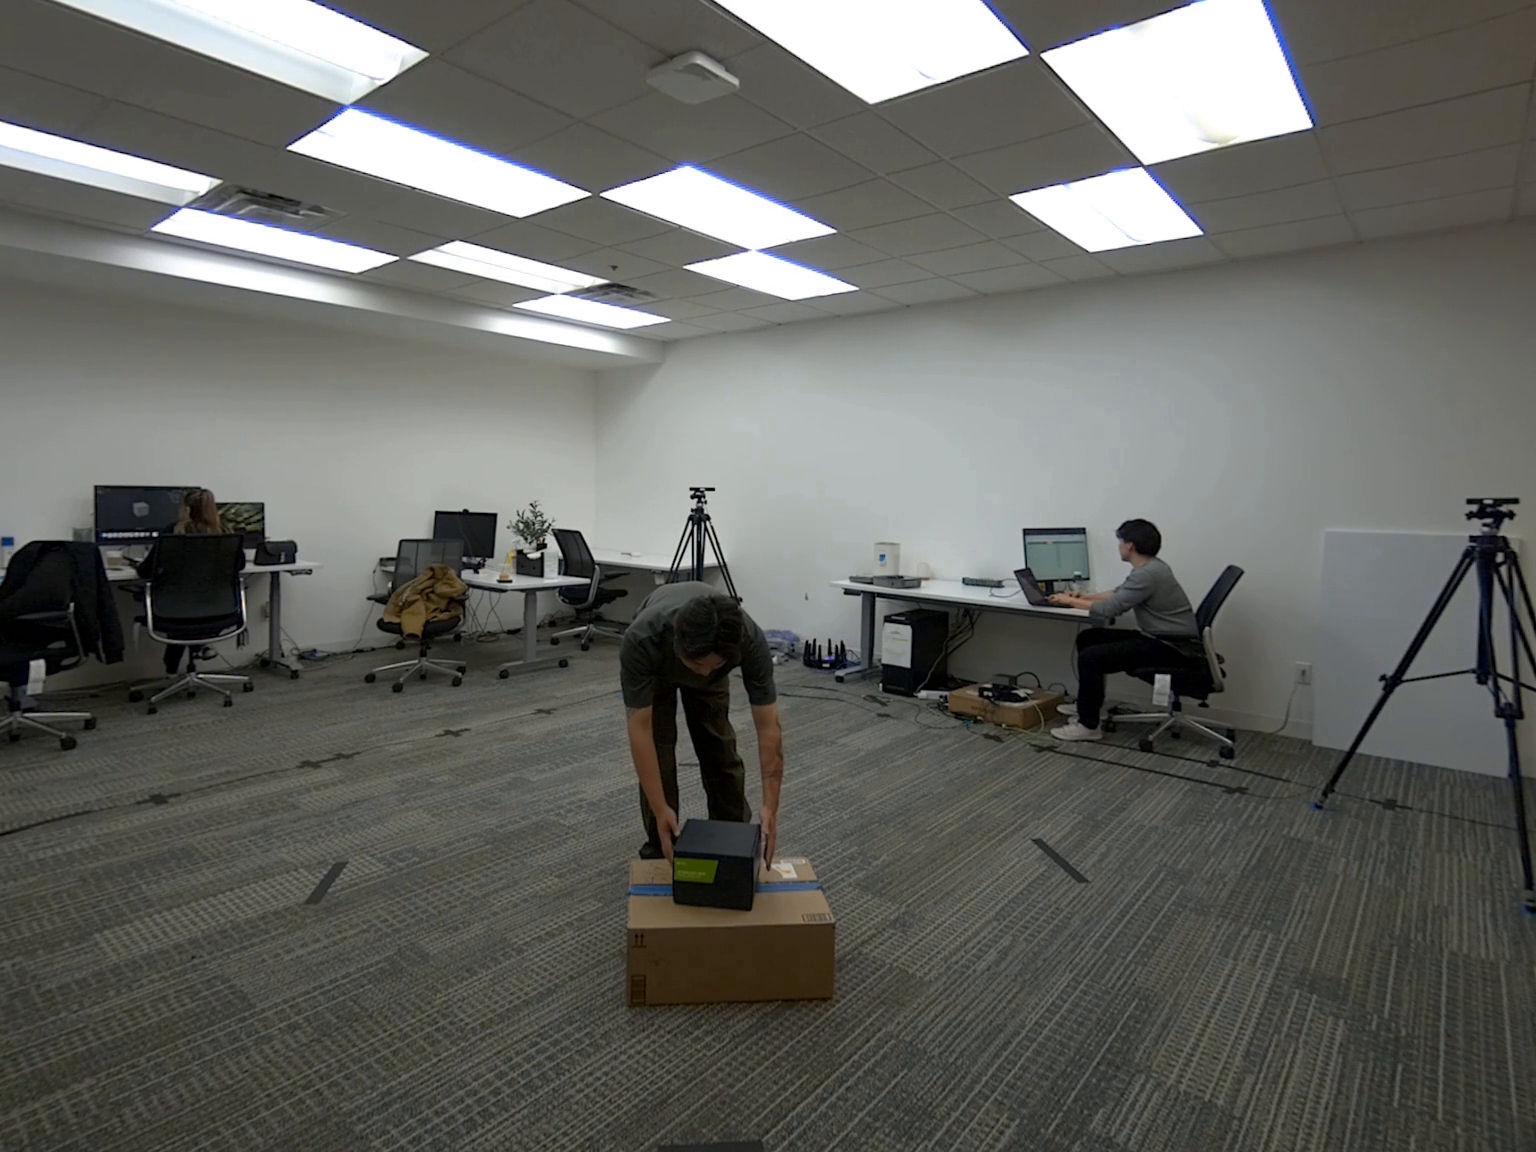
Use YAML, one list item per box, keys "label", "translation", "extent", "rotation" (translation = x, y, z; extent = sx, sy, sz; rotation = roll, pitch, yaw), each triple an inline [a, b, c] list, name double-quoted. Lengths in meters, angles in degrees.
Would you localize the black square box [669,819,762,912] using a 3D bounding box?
- label: "black square box"
  translation: [-0.148, 0.833, 2.474]
  extent: [0.230, 0.155, 0.216]
  rotation: [2, 6, 7]
